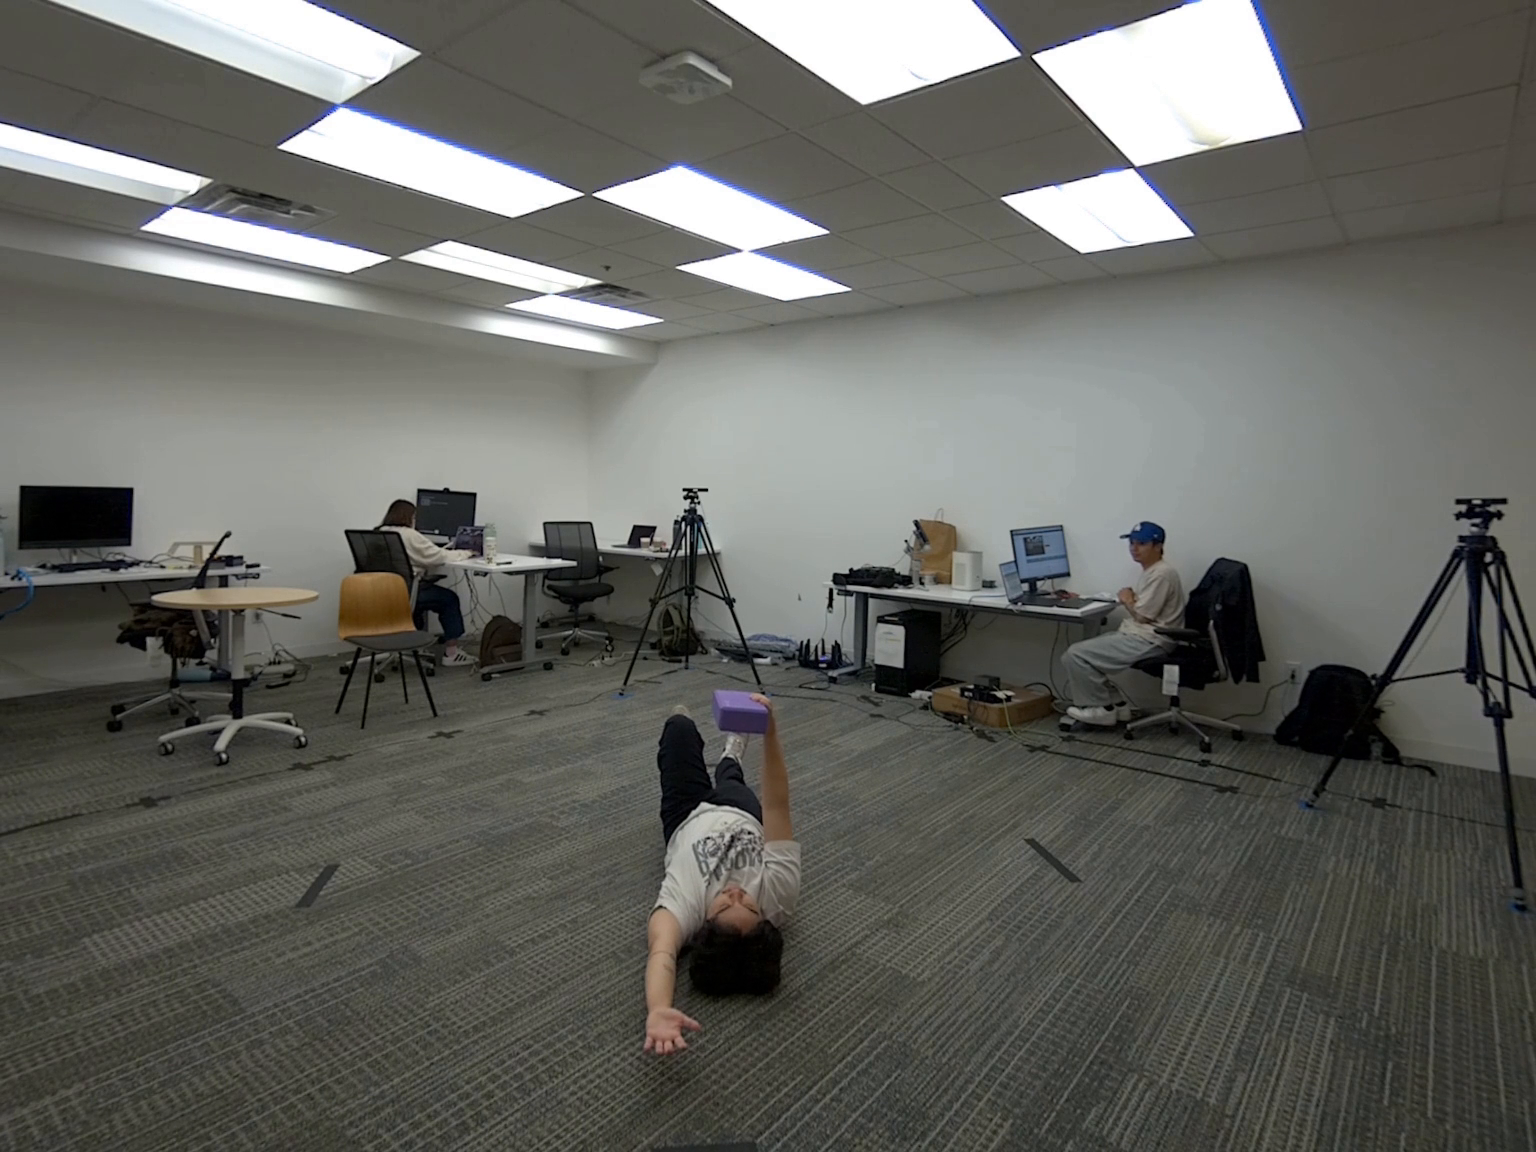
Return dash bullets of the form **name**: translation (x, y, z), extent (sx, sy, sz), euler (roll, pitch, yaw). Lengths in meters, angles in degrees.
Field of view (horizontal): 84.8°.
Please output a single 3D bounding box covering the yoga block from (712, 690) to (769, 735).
- **yoga block**: translation (-0.098, 0.422, 2.652), extent (0.148, 0.076, 0.231), euler (6, 4, -5)
